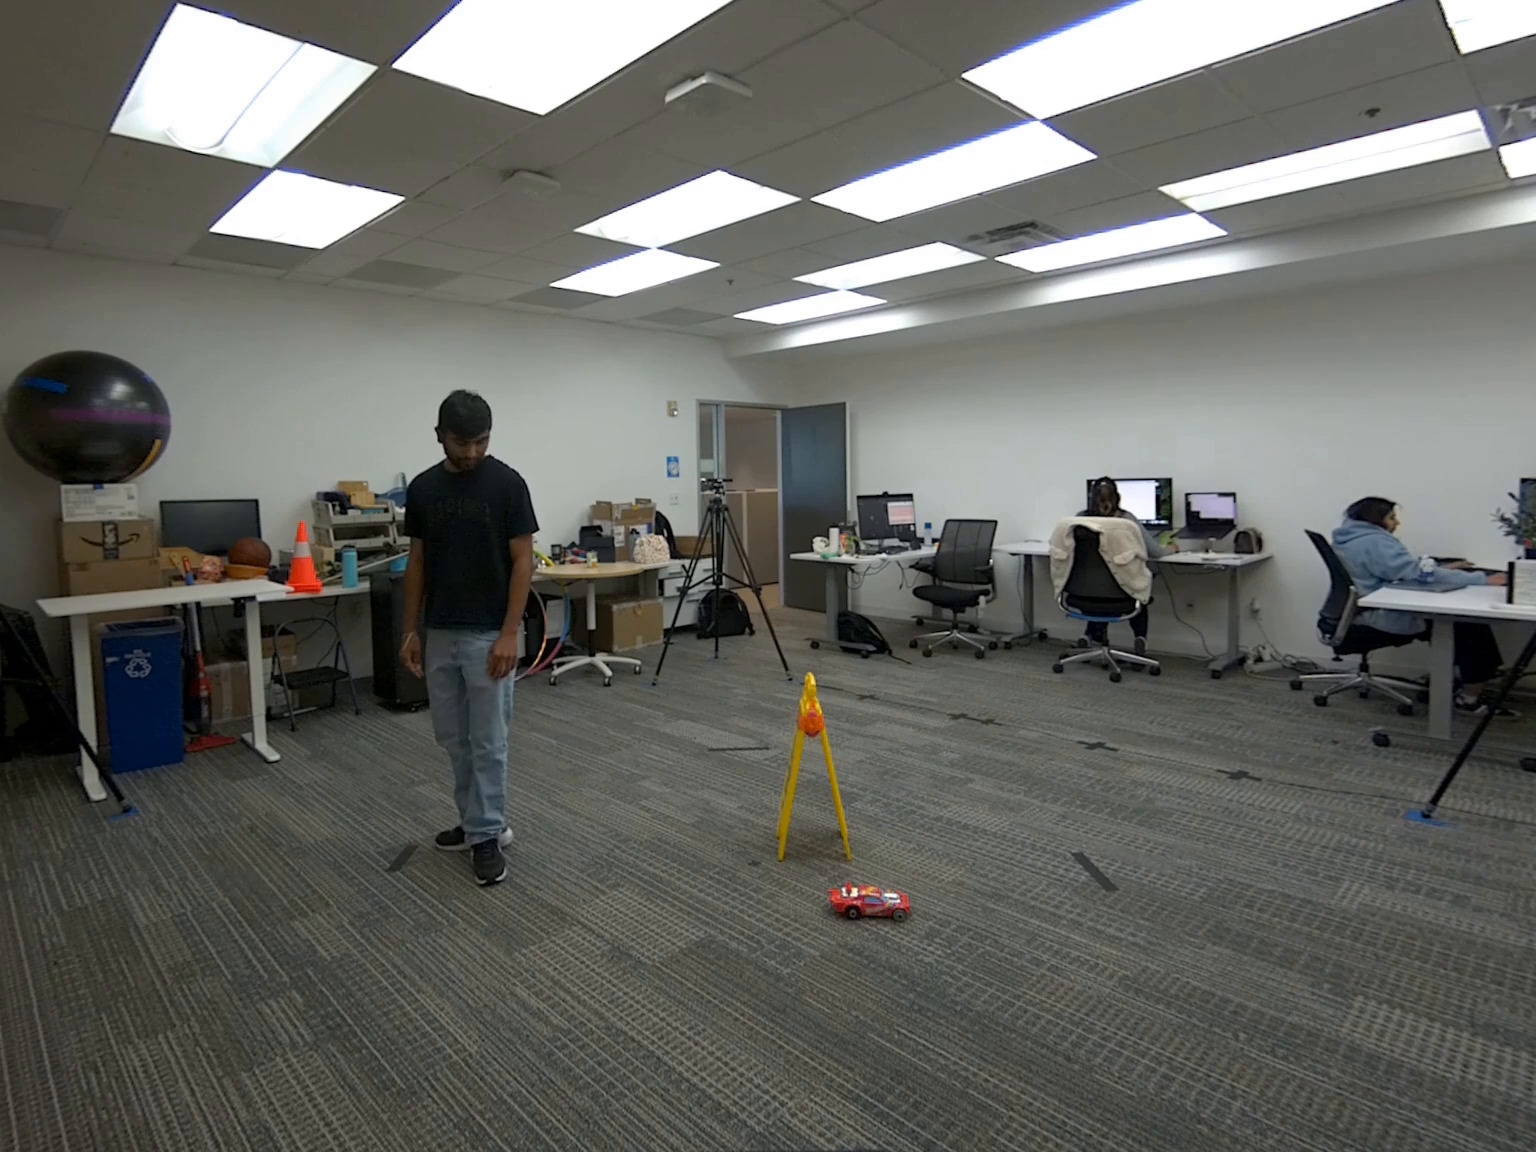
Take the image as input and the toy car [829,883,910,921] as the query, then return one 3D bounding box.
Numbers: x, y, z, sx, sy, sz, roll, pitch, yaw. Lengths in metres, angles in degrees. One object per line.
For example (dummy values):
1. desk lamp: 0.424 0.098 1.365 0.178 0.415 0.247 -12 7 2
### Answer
1. toy car: 0.331 1.050 2.735 0.256 0.083 0.130 10 6 5
